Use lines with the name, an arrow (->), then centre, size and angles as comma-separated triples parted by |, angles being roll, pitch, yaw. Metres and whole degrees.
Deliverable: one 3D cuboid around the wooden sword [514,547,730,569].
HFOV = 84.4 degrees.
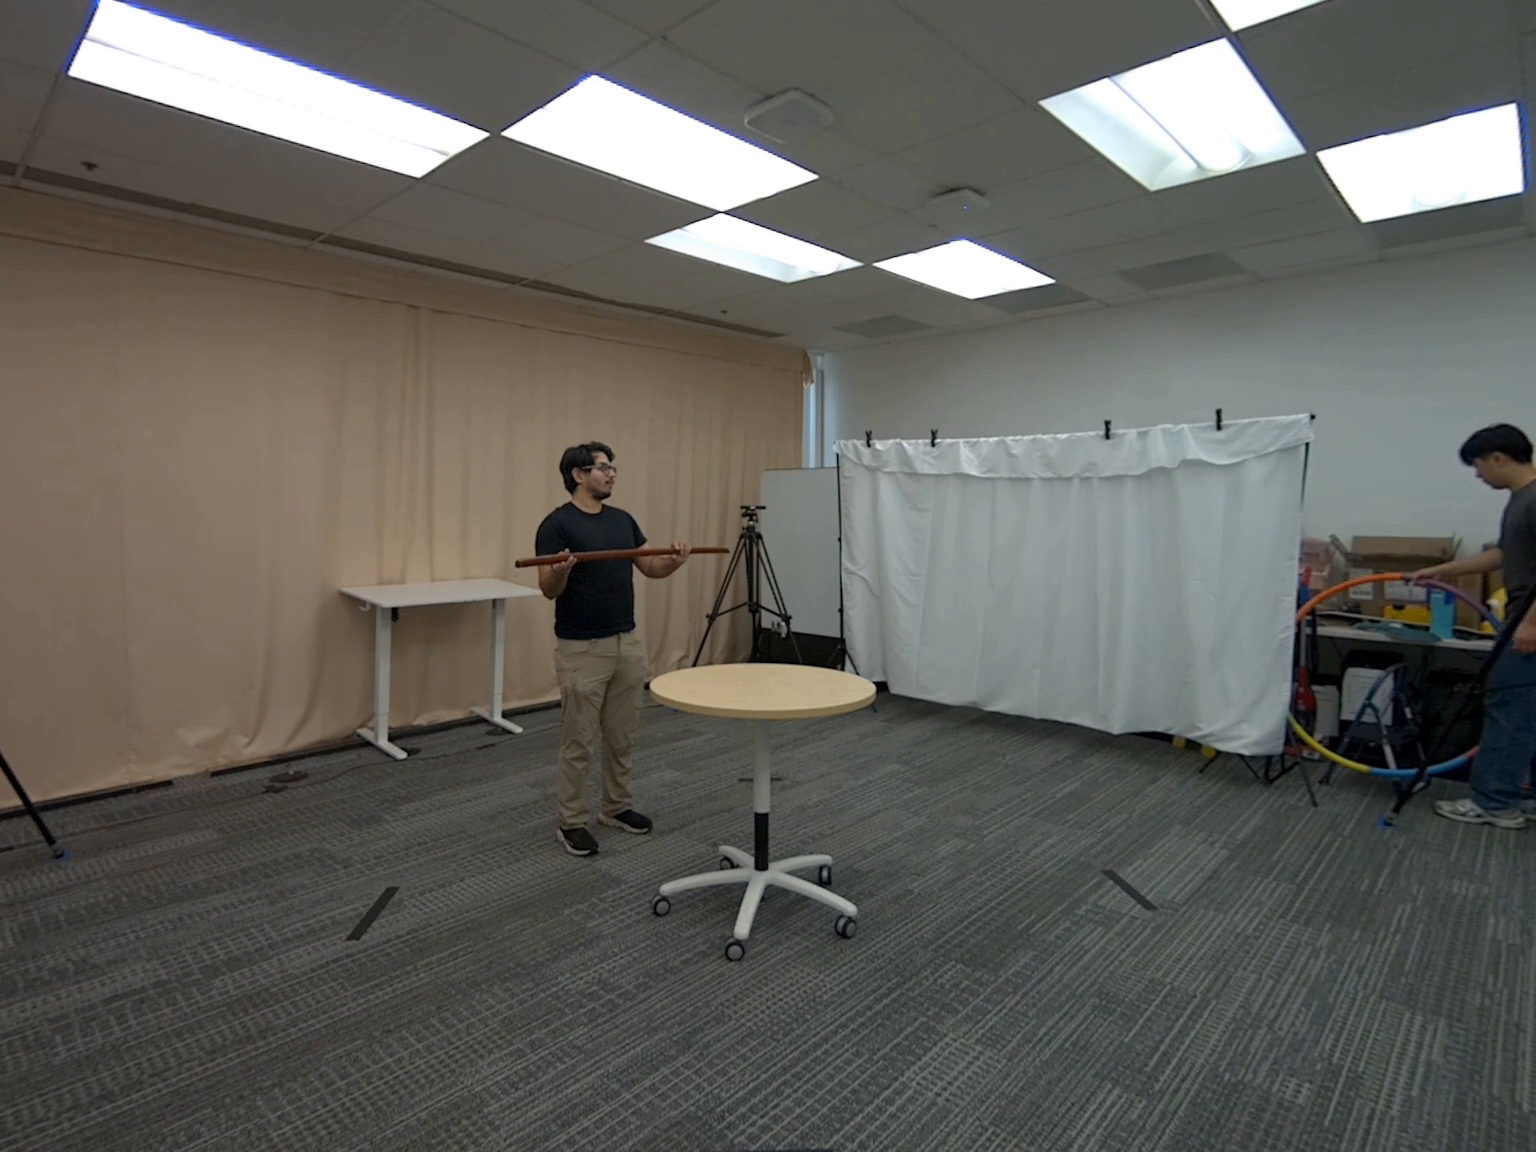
wooden sword -> -0.495, -0.079, 3.193 | 0.053, 0.024, 0.993 | 7, 8, 44
